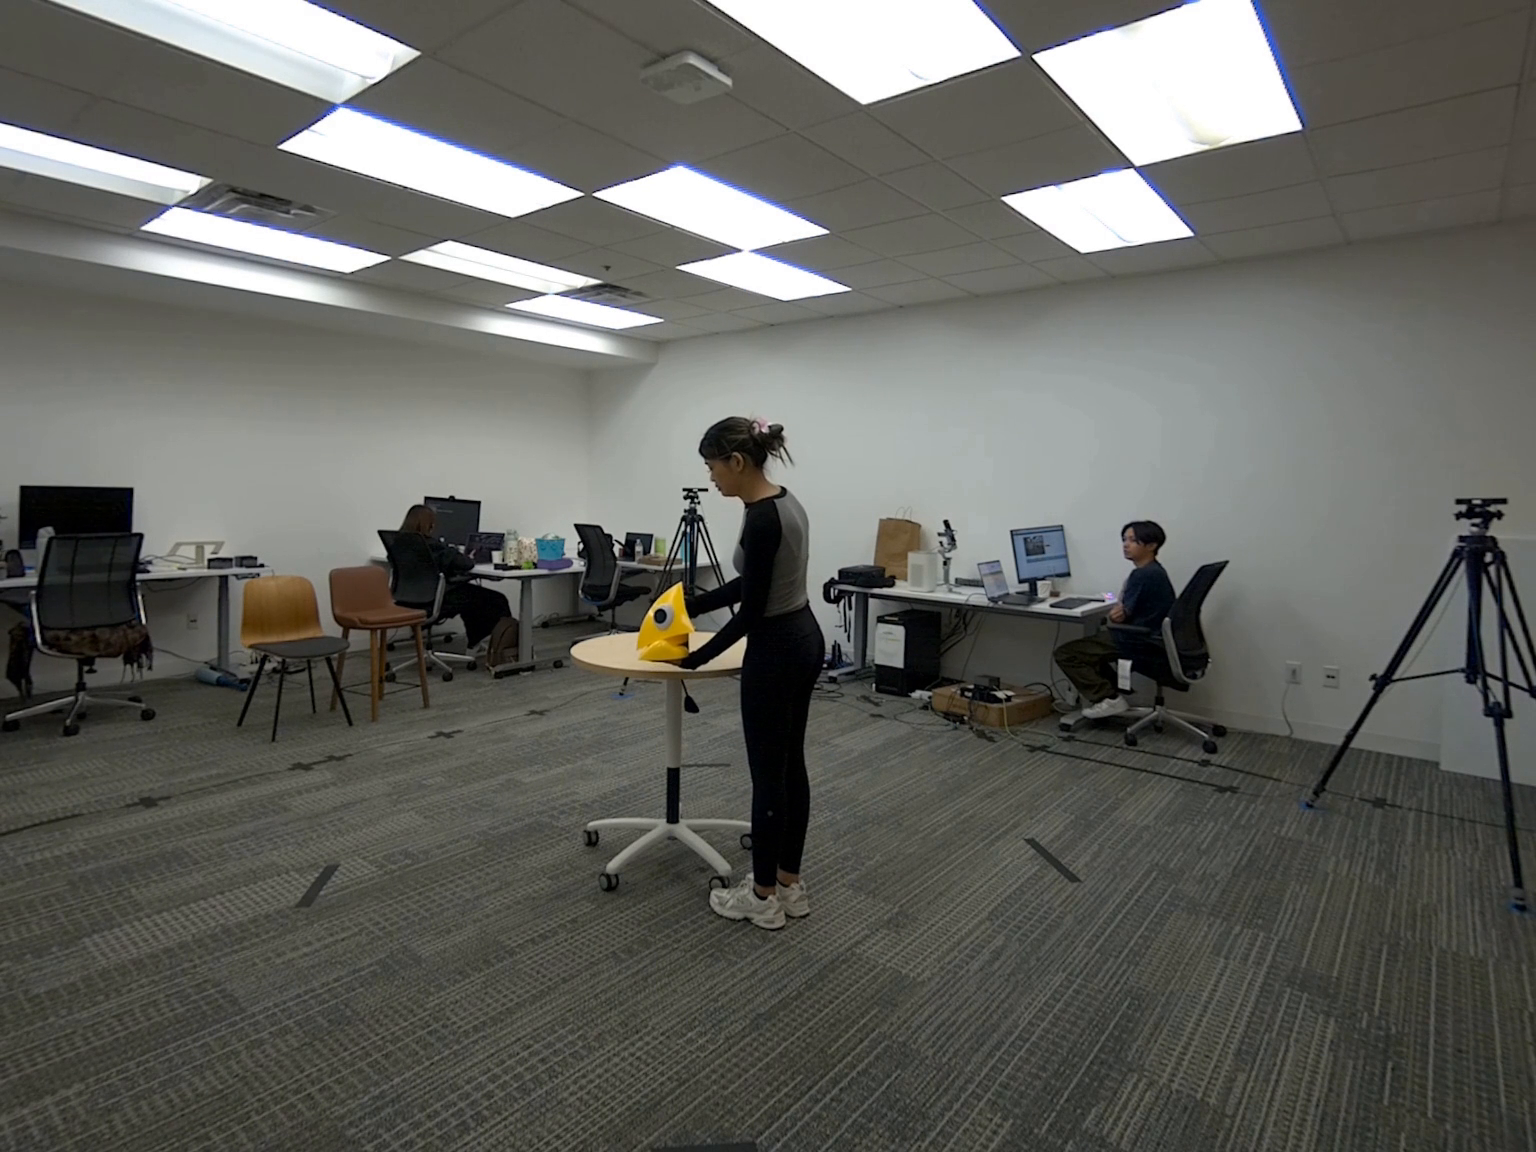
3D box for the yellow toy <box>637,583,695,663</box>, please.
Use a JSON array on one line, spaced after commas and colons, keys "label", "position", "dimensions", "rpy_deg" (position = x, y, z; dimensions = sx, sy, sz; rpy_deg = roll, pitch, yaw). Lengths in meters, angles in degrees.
[{"label": "yellow toy", "position": [-0.337, 0.136, 2.706], "dimensions": [0.192, 0.231, 0.205], "rpy_deg": [-4, -1, -5]}]
